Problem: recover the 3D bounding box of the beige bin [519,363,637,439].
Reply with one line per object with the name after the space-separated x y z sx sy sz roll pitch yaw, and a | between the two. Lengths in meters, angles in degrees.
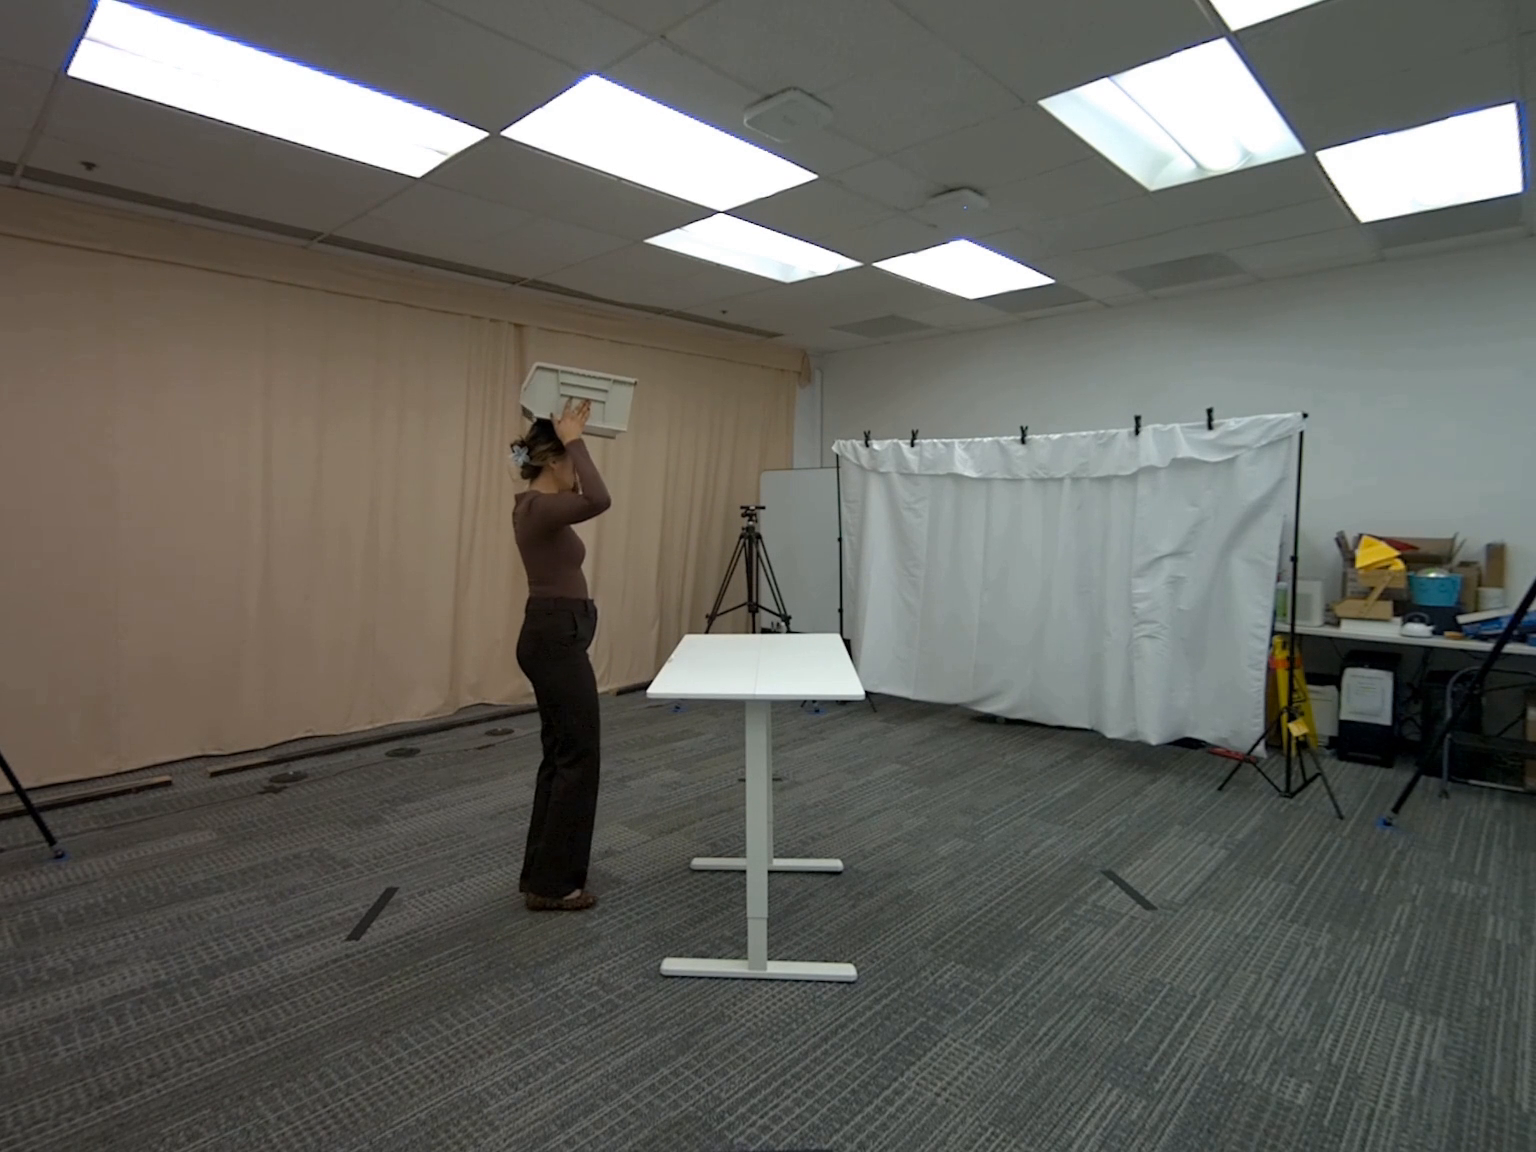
-0.698 -0.624 3.020 0.371 0.189 0.429 8 3 -14 | beige bin
